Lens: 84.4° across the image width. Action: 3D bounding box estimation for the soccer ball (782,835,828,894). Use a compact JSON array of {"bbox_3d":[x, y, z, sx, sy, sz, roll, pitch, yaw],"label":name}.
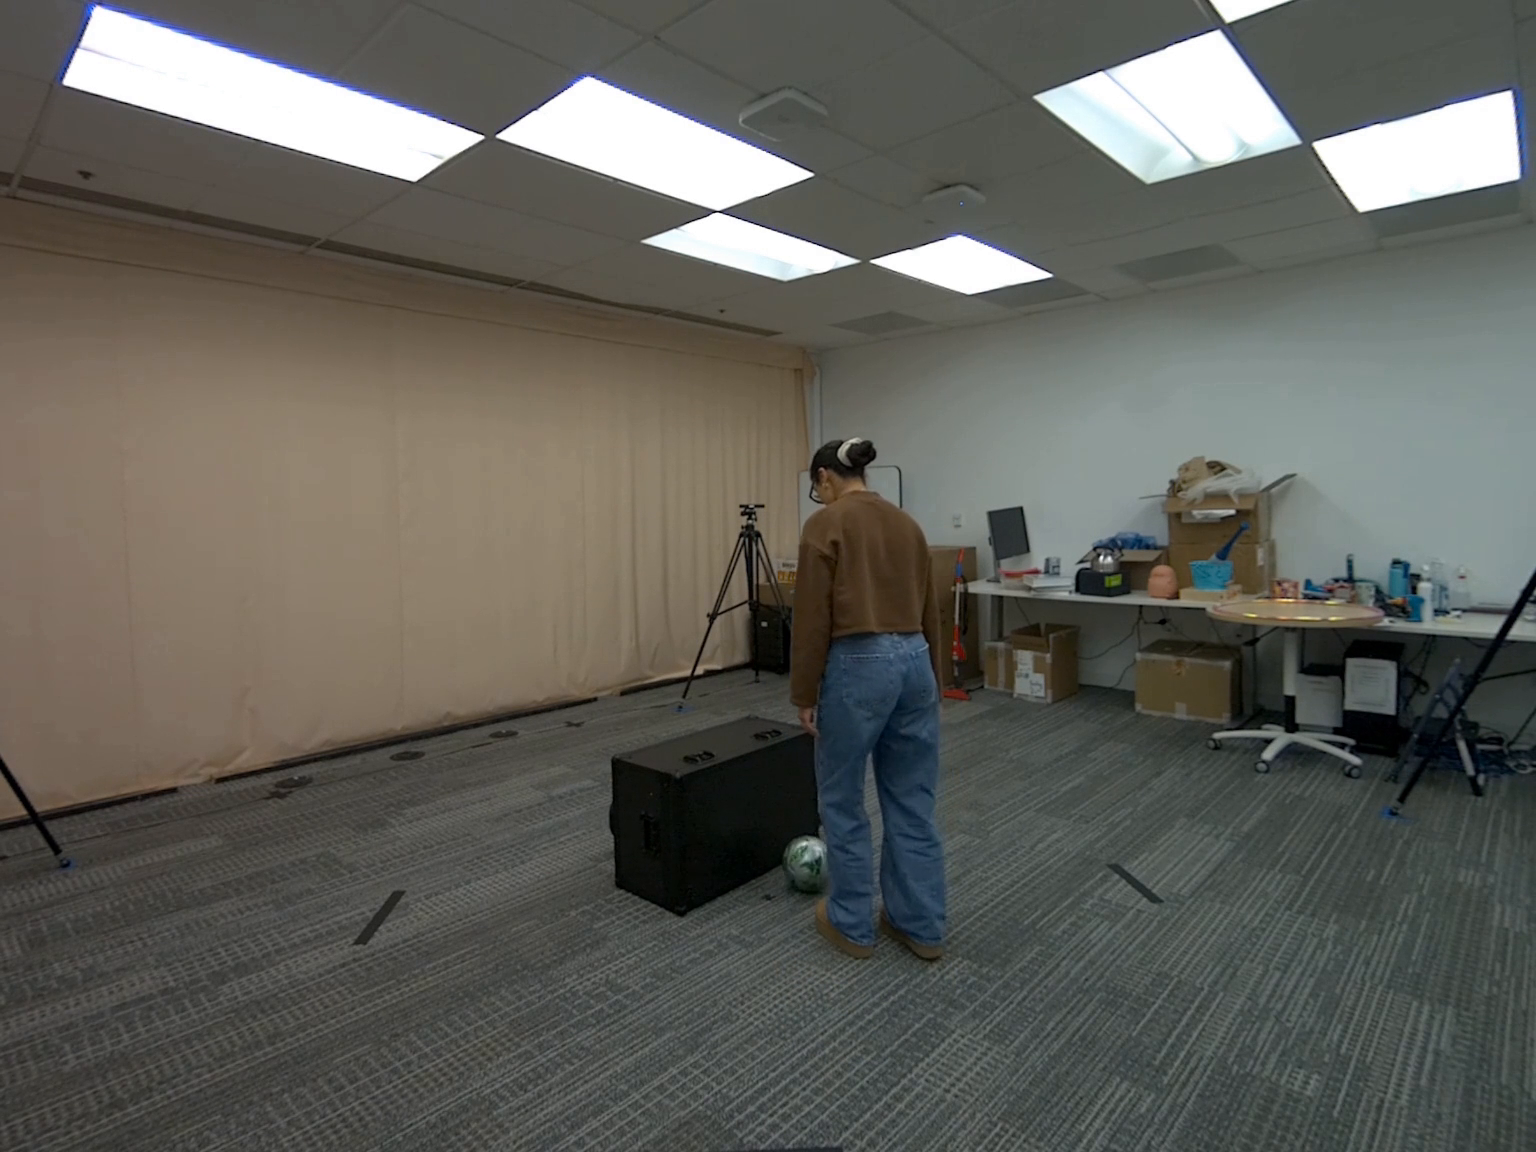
[{"bbox_3d":[0.132,1.031,3.037,0.187,0.187,0.188,-1,4,-2],"label":"soccer ball"}]
